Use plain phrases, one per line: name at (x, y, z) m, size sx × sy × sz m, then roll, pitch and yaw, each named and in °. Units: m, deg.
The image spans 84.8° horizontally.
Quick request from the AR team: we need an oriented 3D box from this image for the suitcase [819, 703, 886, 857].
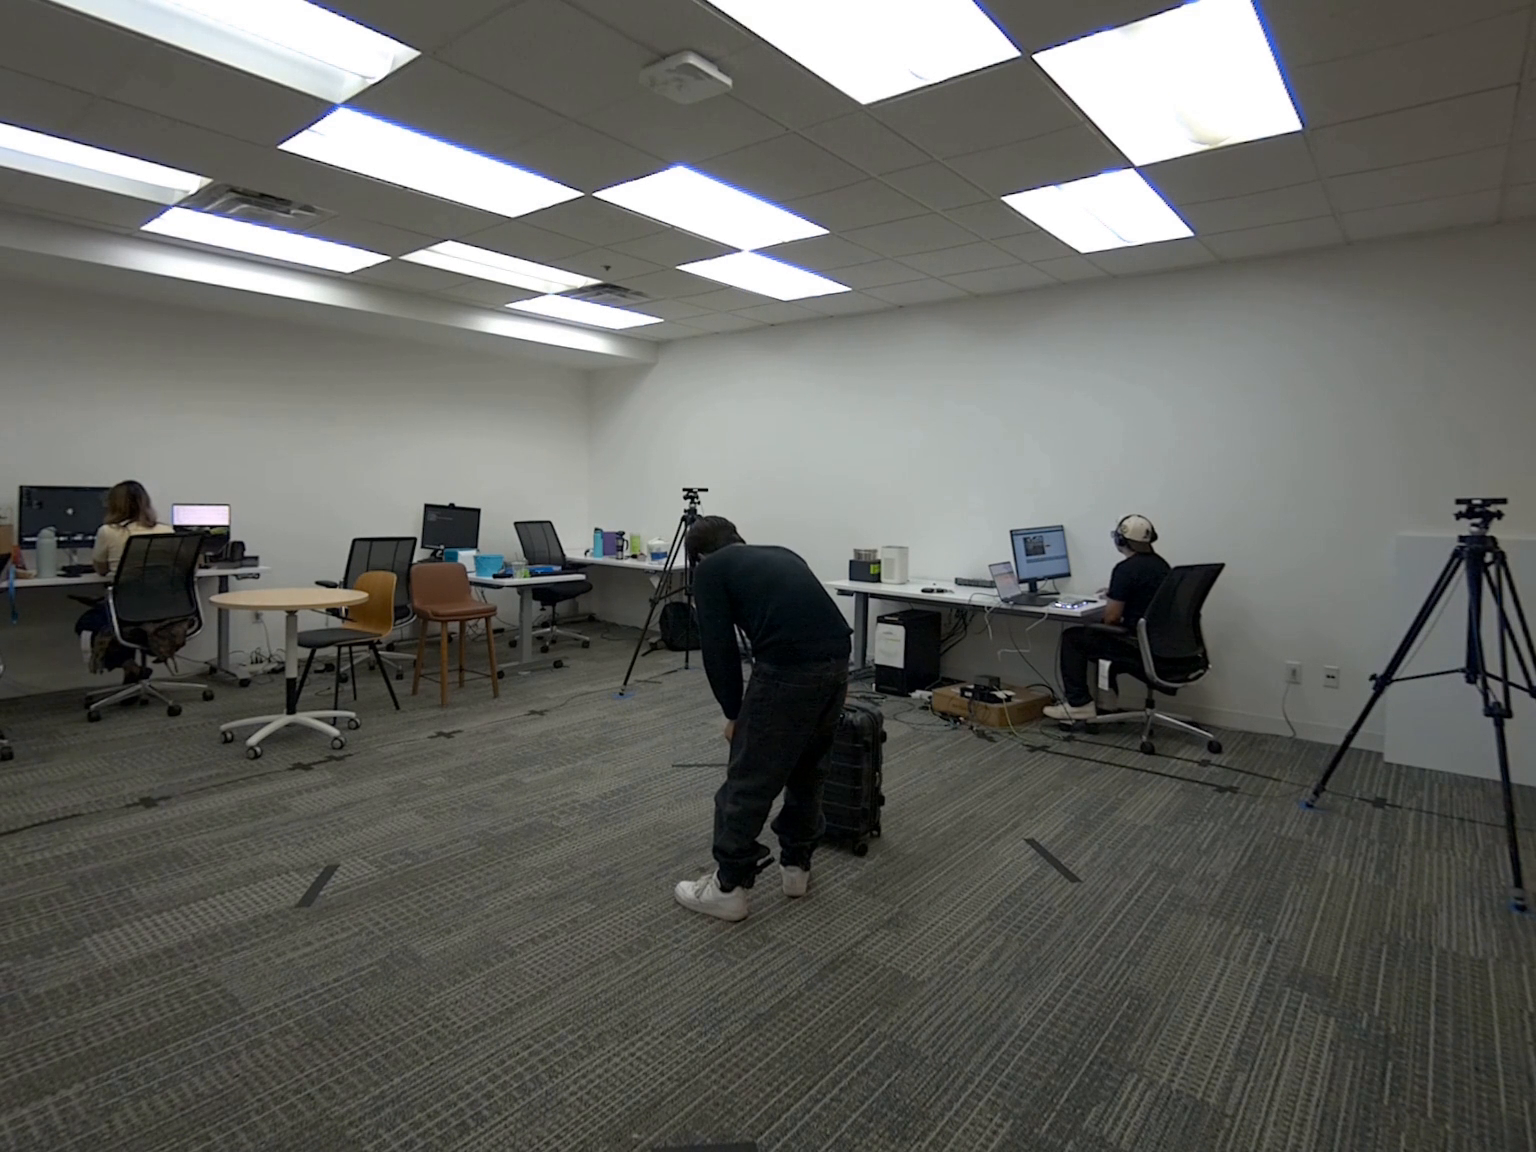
suitcase at (0.261, 0.771, 3.423) m, size 0.387 × 0.548 × 0.241 m, roll 4°, pitch 3°, yaw 30°
